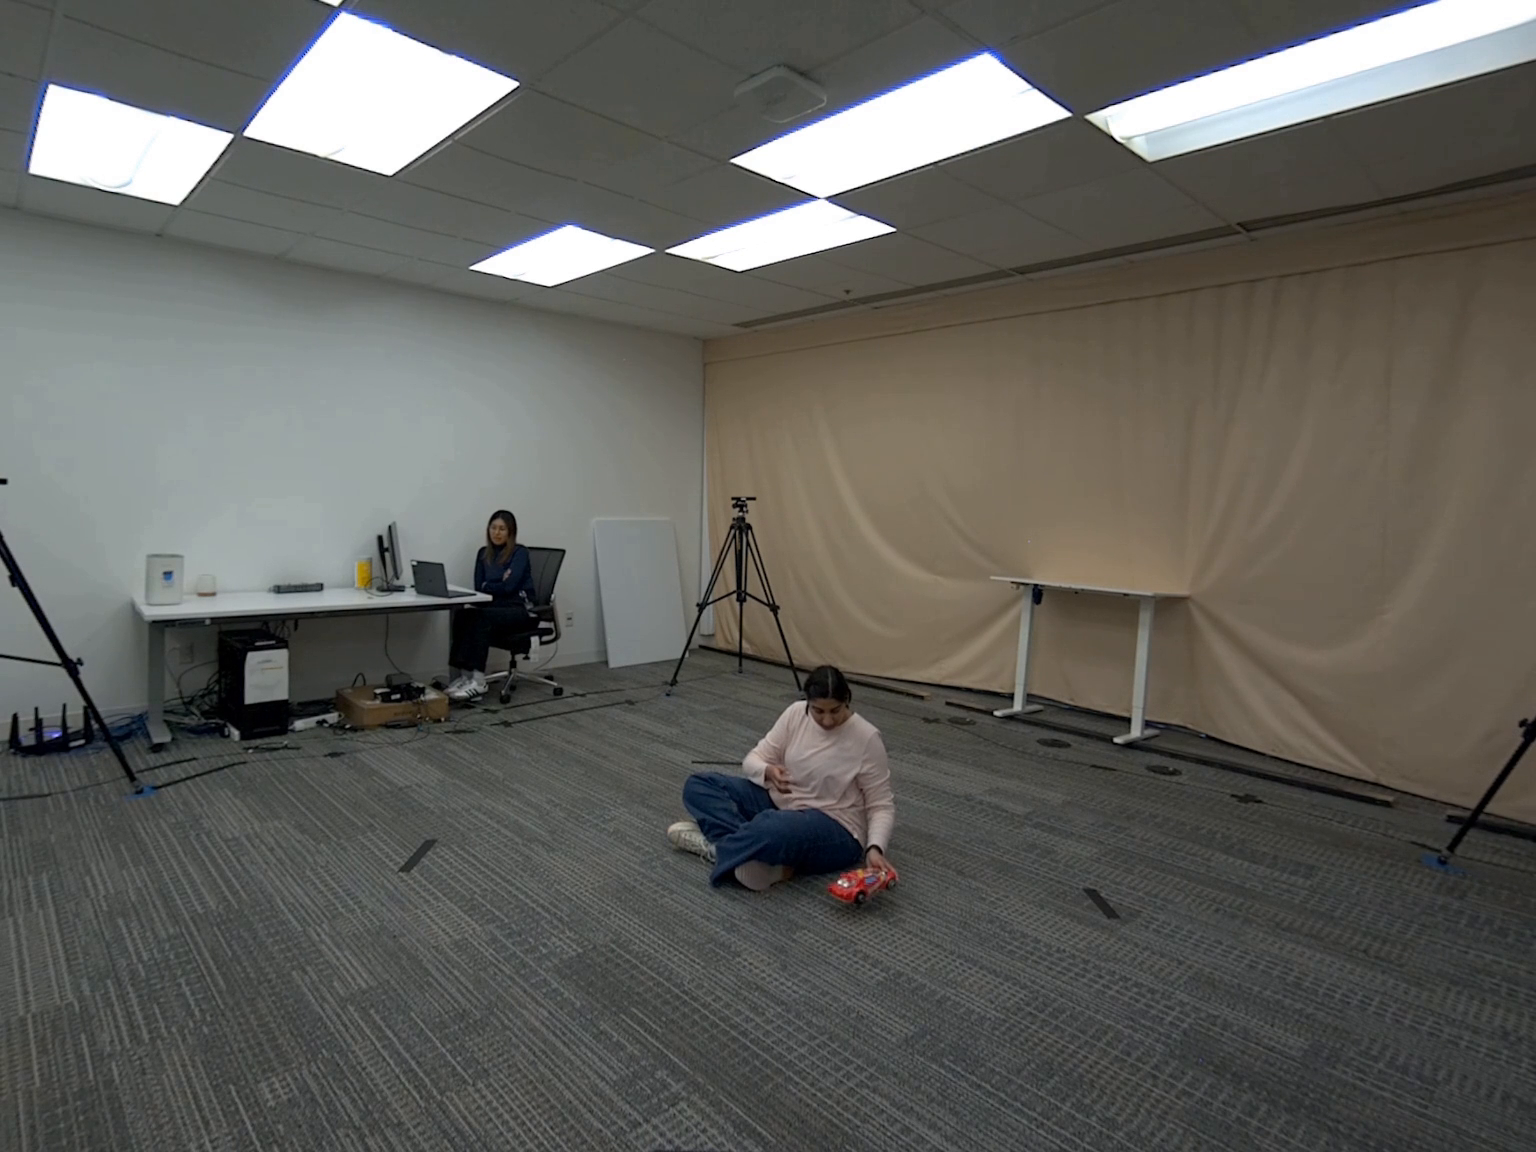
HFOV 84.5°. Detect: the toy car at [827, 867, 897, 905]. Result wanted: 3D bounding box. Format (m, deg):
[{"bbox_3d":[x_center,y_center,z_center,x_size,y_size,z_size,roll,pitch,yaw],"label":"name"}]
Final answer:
[{"bbox_3d":[0.306,1.058,2.863,0.248,0.083,0.133,8,-5,-35],"label":"toy car"}]
